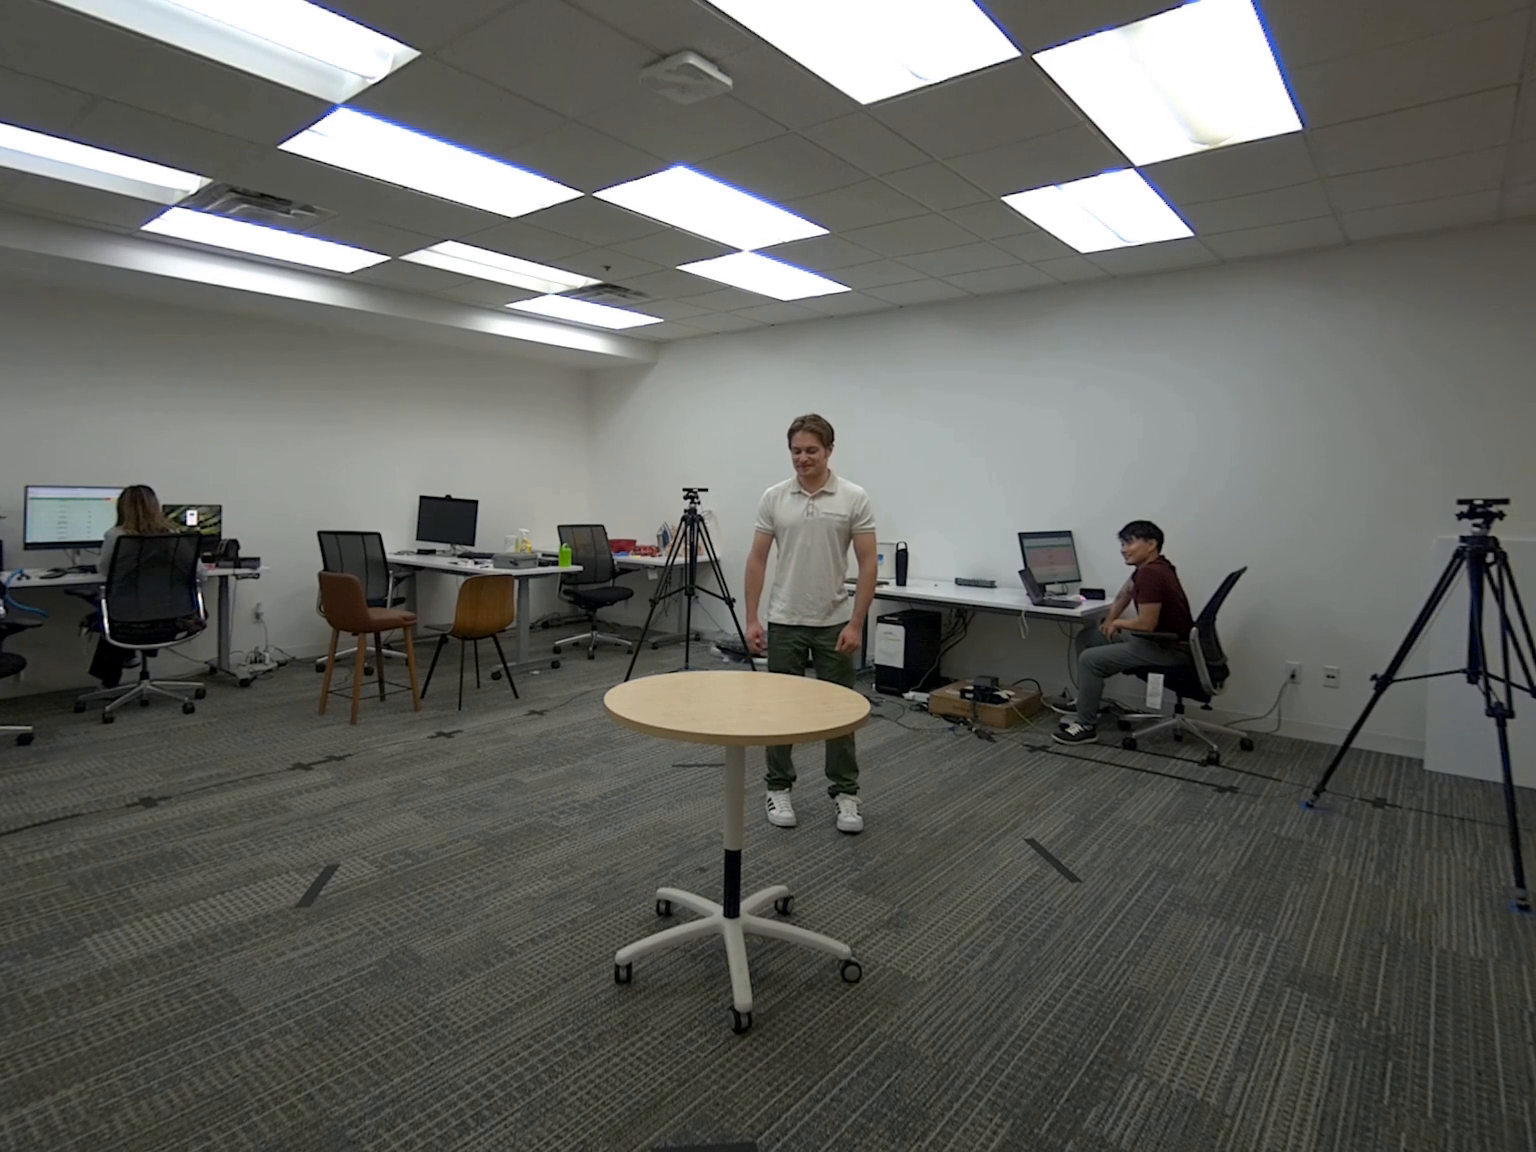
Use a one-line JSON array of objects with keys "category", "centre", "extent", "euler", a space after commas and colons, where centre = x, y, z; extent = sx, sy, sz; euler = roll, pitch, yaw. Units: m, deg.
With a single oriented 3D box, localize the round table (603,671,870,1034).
[{"category": "round table", "centre": [-0.114, 0.745, 2.486], "extent": [0.763, 0.791, 0.768], "euler": [1, 4, -2]}]
